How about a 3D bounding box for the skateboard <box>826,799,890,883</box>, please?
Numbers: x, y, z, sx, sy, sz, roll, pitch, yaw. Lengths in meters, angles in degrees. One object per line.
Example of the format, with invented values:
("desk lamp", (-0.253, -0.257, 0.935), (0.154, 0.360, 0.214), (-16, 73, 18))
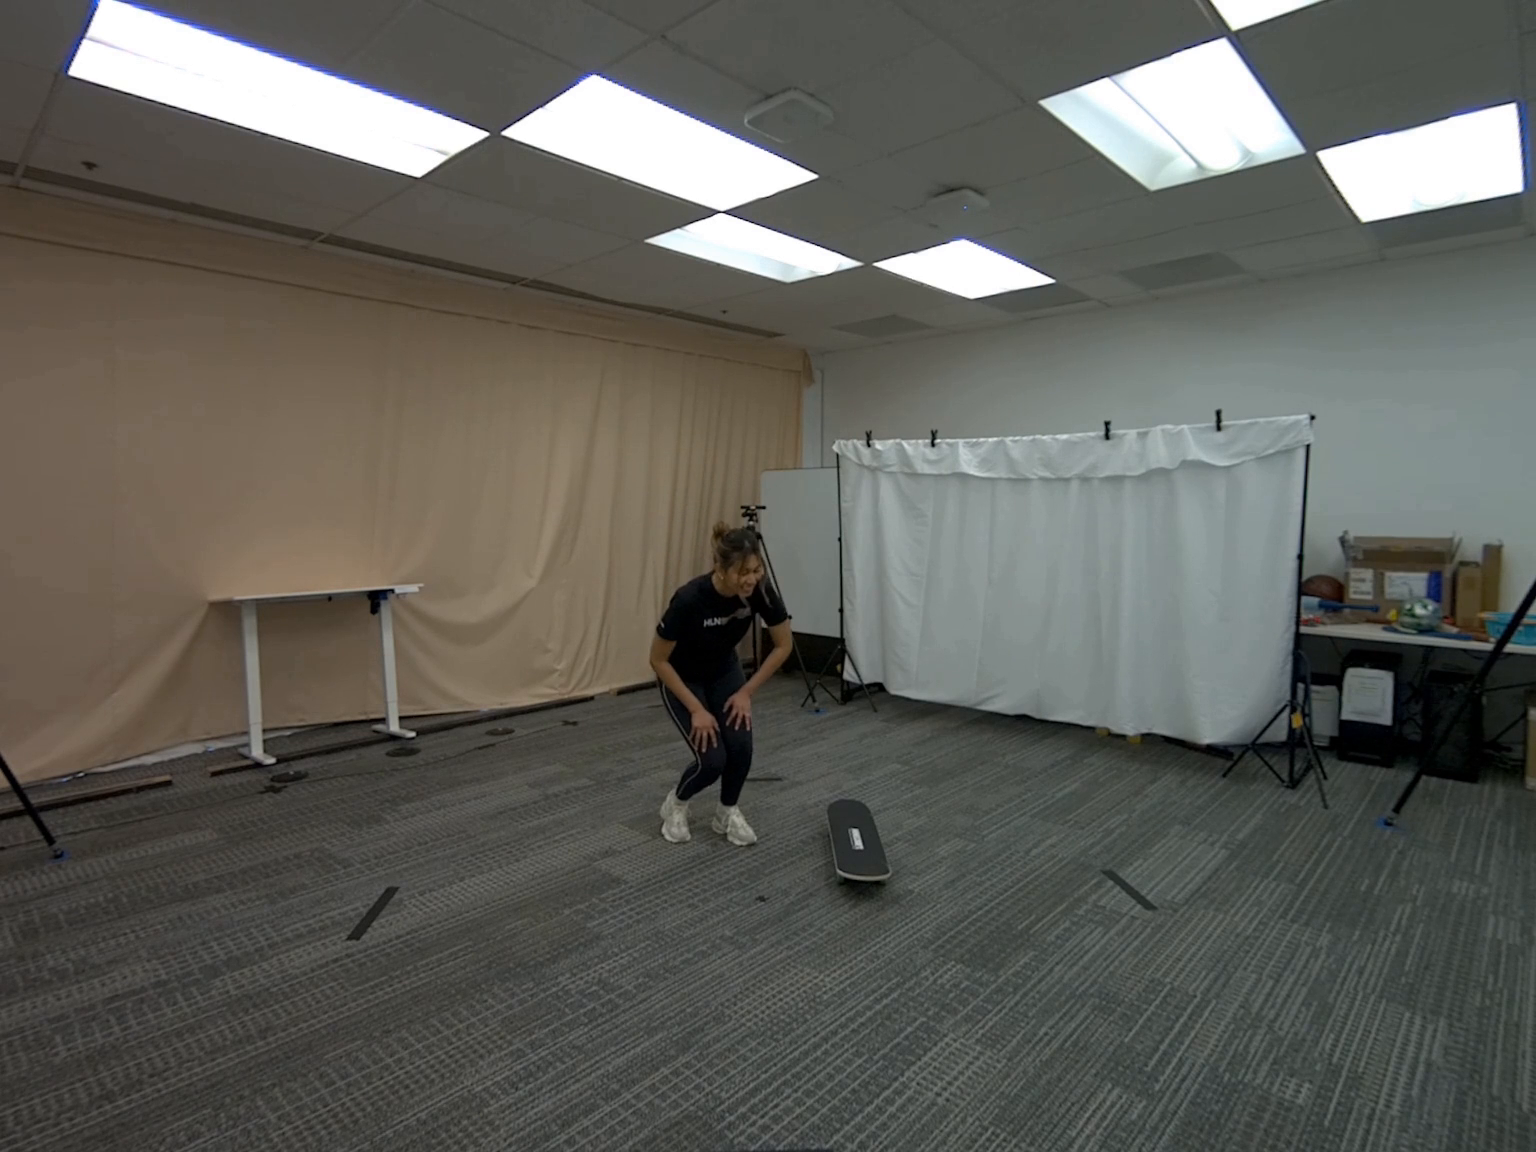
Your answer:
("skateboard", (0.349, 1.059, 3.292), (0.194, 0.110, 0.785), (-1, 5, 1))
